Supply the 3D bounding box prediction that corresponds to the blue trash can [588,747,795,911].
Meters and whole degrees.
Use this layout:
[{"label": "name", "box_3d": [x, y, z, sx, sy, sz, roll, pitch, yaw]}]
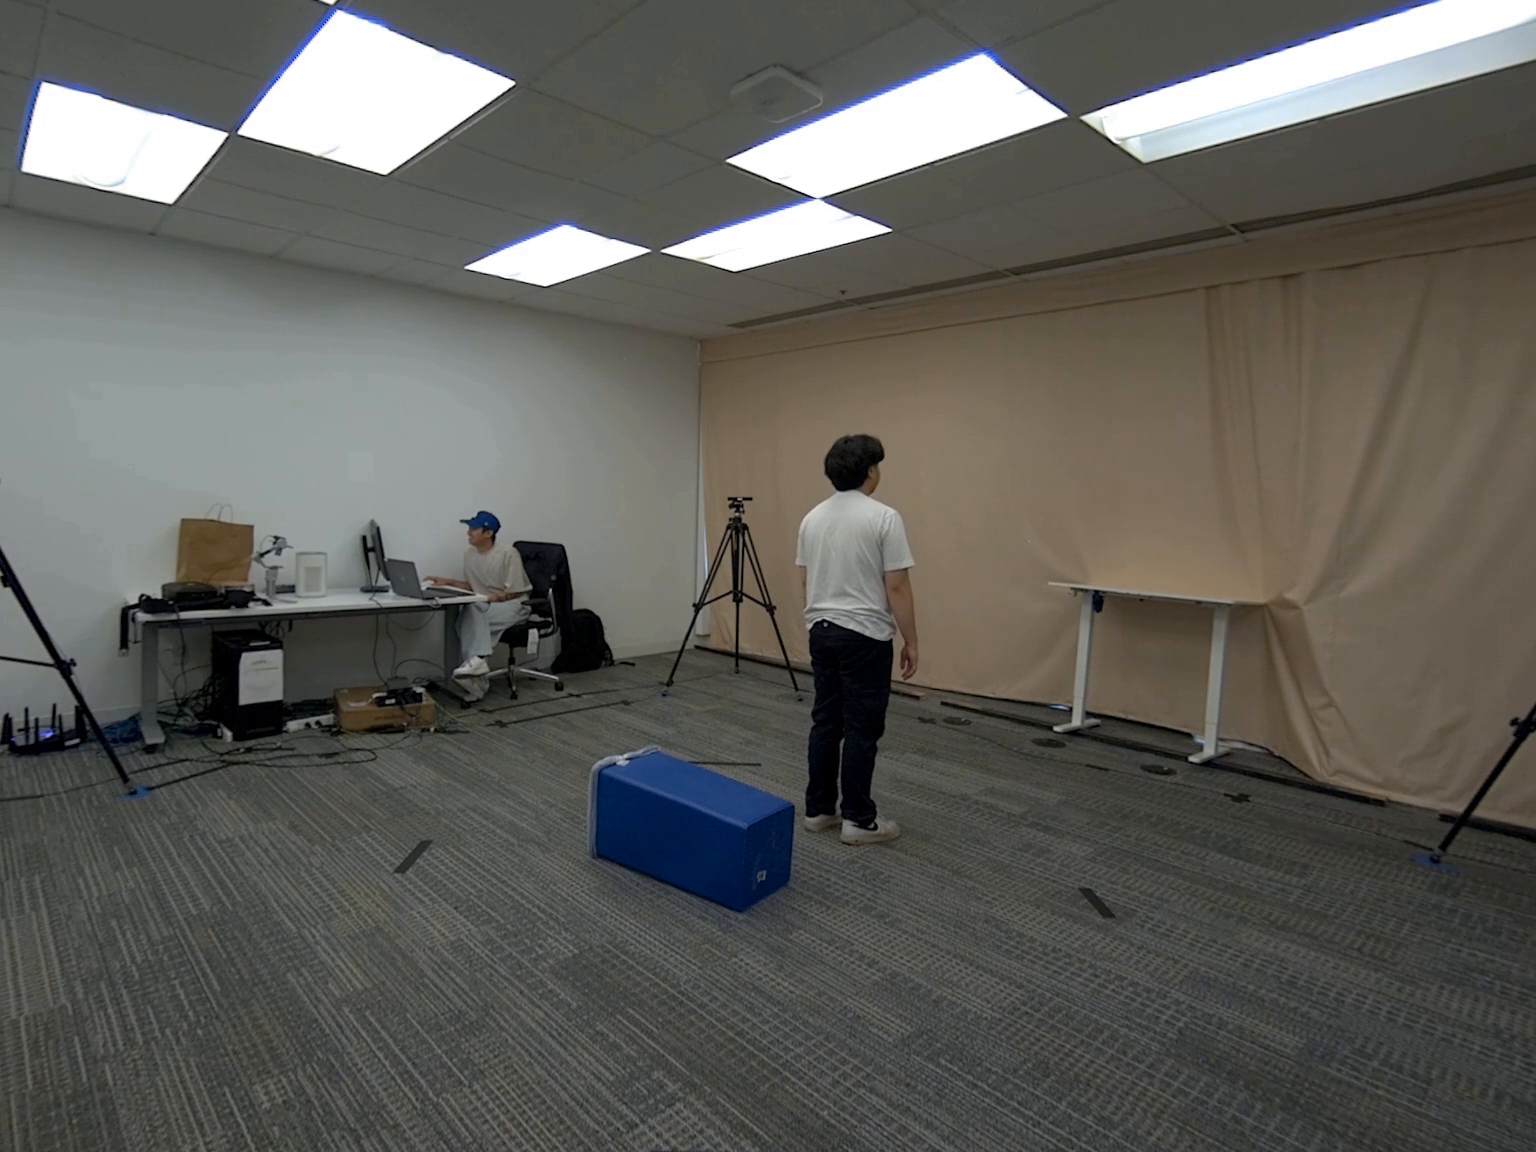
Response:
[{"label": "blue trash can", "box_3d": [-0.296, 0.935, 3.141, 0.732, 0.373, 0.369, 9, 7, 37]}]
